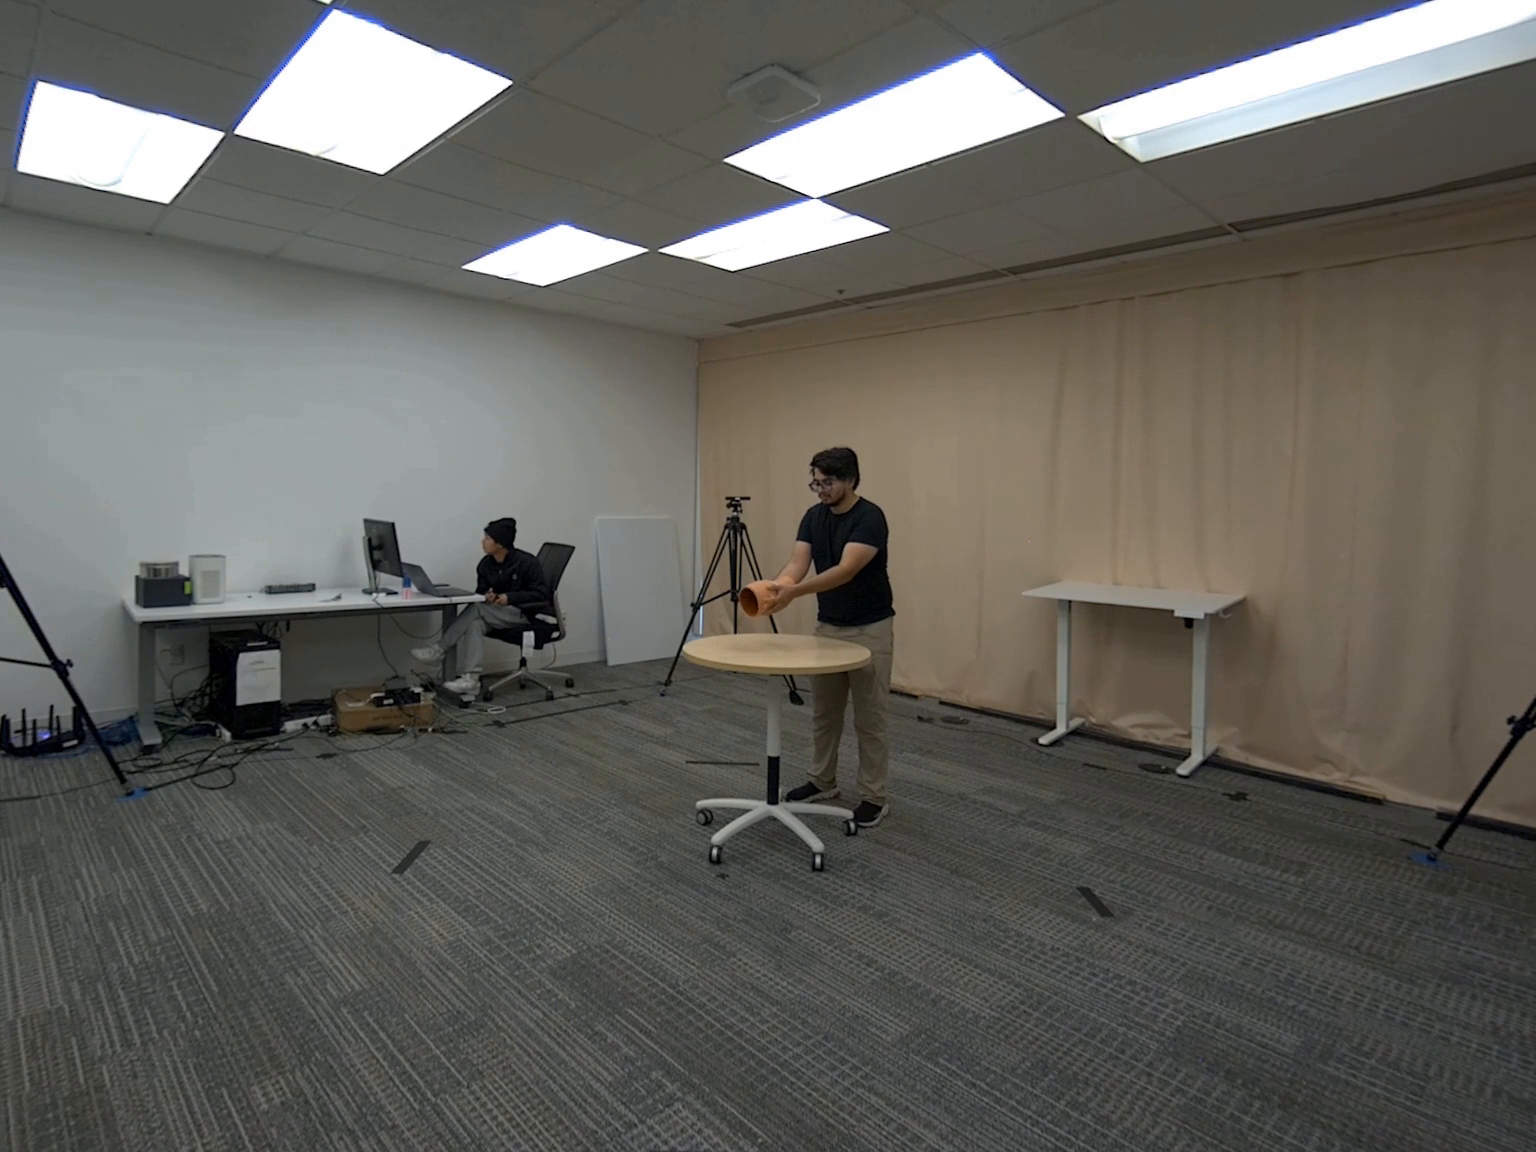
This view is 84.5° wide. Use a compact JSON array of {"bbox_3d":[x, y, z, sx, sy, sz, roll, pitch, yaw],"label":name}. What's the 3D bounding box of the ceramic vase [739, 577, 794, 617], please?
[{"bbox_3d":[-0.006,0.075,3.455,0.216,0.133,0.163,-17,50,-38],"label":"ceramic vase"}]
